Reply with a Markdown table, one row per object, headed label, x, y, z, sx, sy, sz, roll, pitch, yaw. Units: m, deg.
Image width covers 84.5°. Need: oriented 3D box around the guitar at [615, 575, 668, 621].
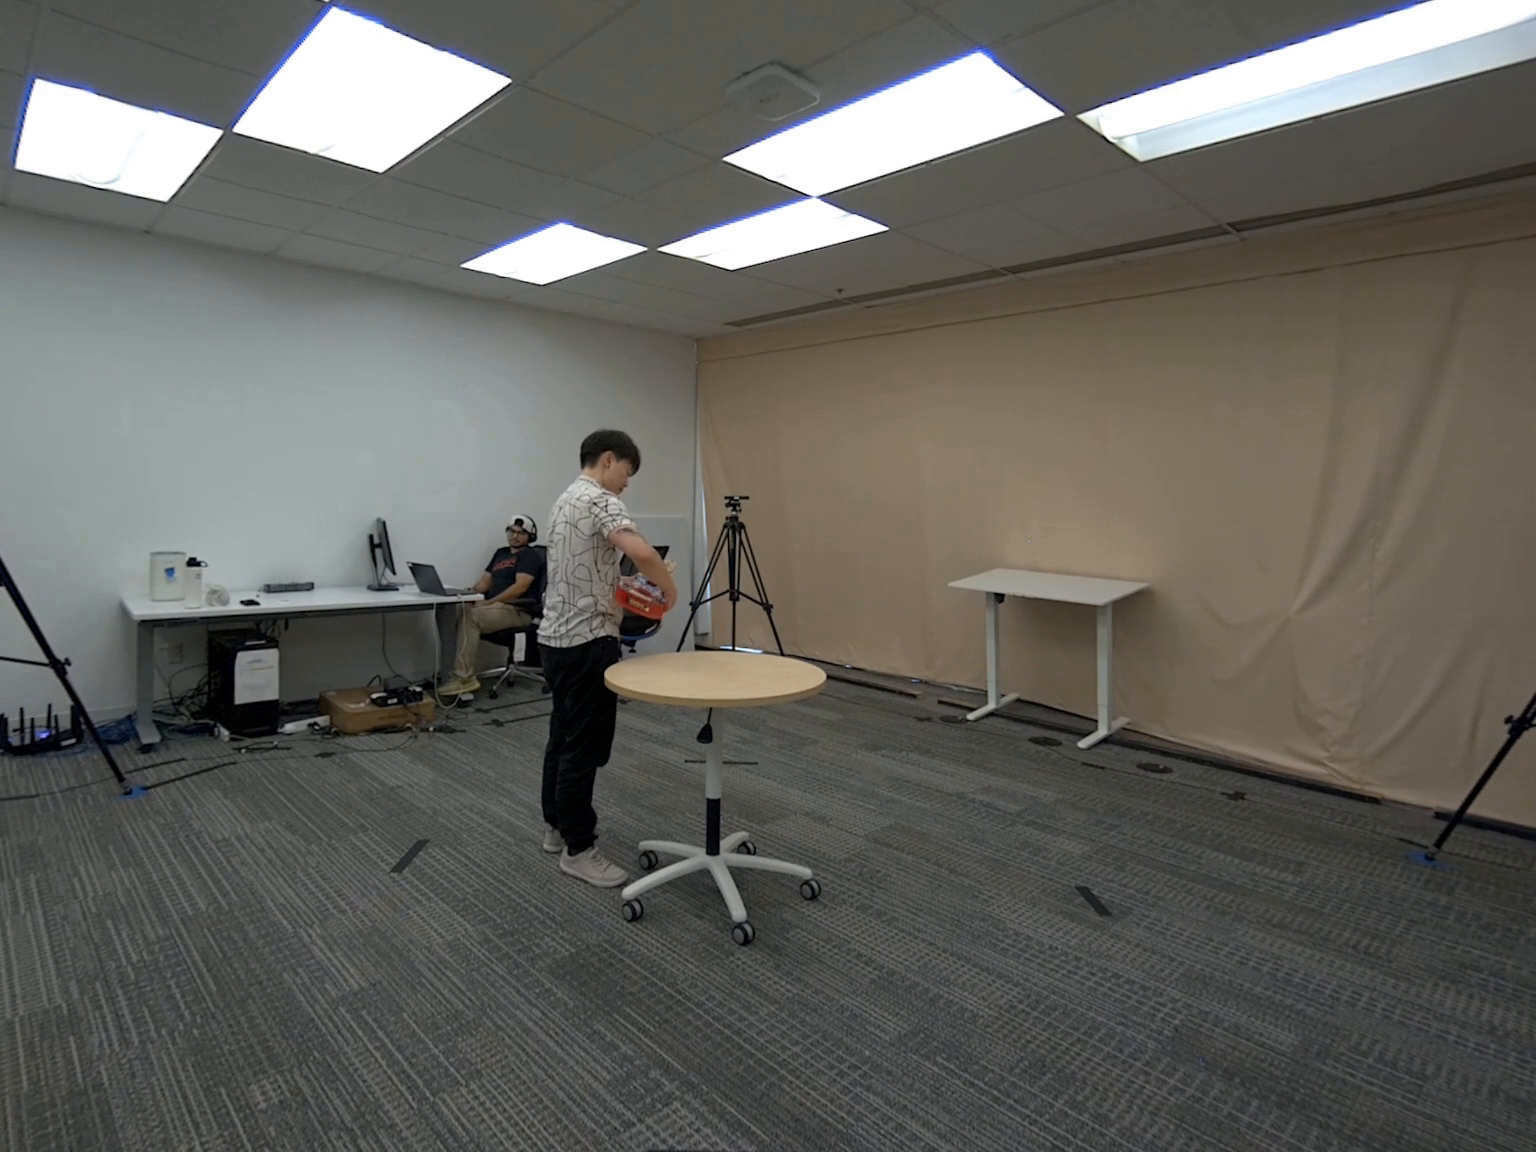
| label | x | y | z | sx | sy | sz | roll | pitch | yaw |
| --- | --- | --- | --- | --- | --- | --- | --- | --- | --- |
| guitar | -0.427 | 0.033 | 3.306 | 0.195 | 0.070 | 0.495 | 27 | 20 | 10 |
